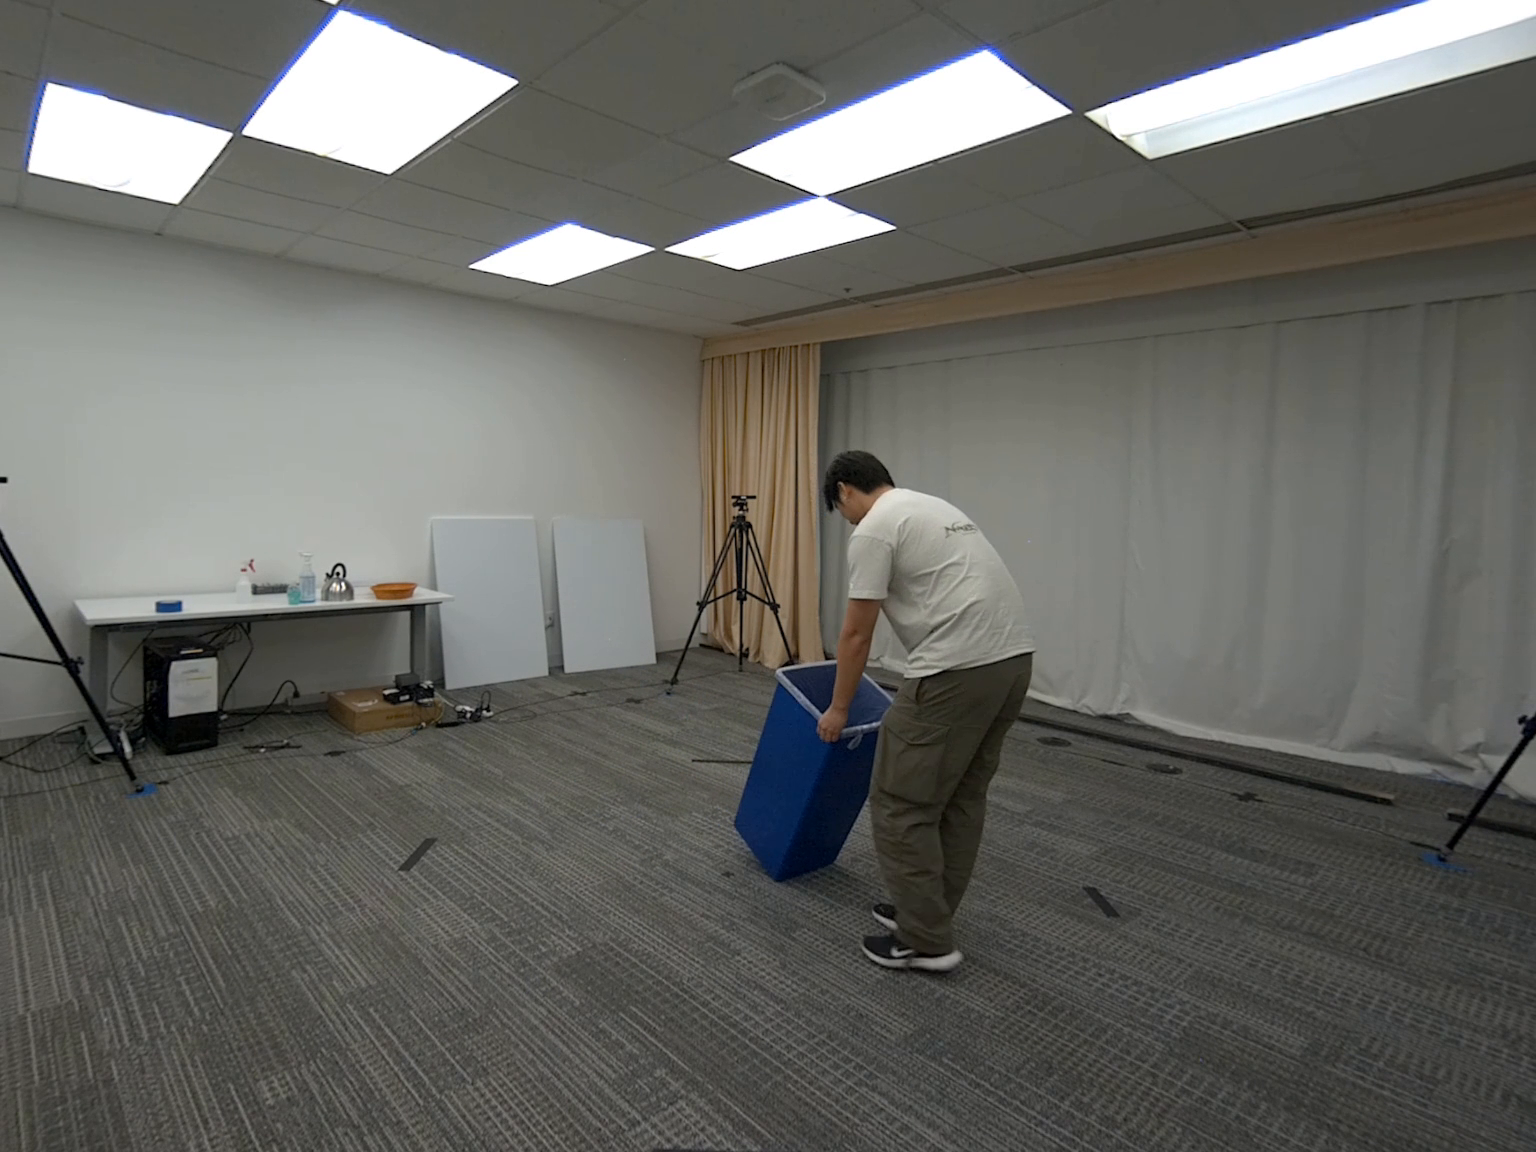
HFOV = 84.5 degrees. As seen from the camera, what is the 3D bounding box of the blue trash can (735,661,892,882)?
[{"bbox_3d":[0.150,0.715,3.085,0.369,0.706,0.386,-2,31,-39],"label":"blue trash can"}]
